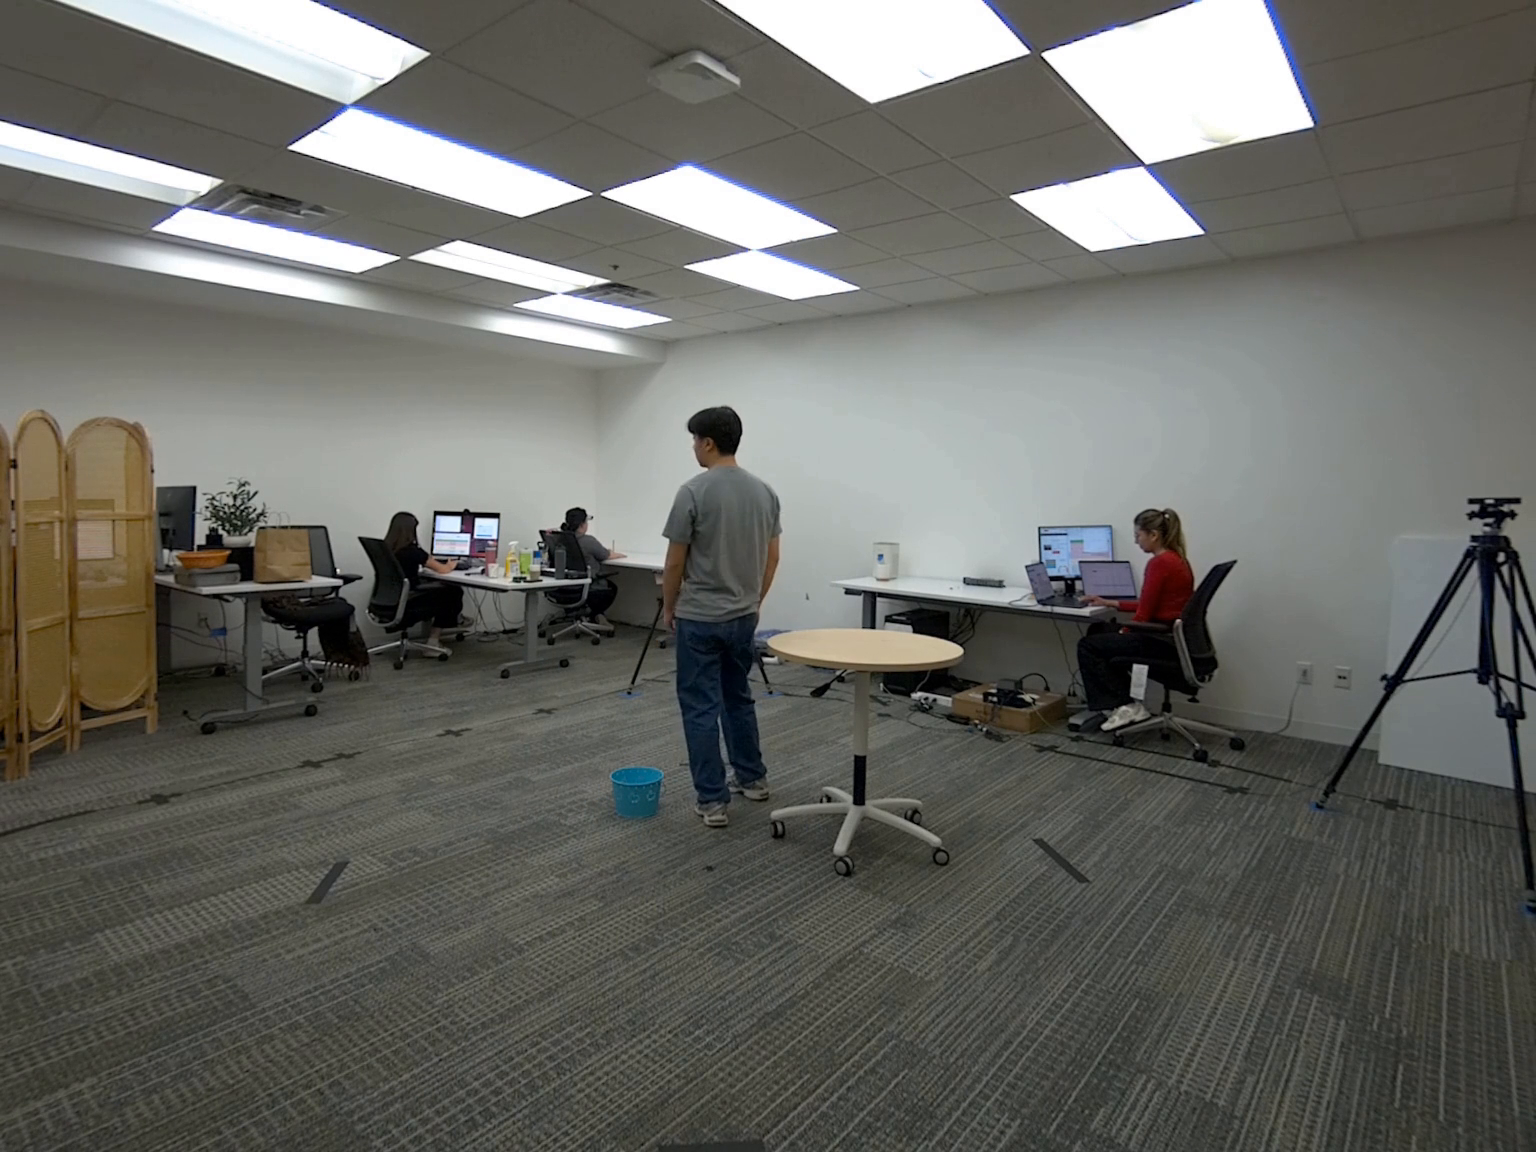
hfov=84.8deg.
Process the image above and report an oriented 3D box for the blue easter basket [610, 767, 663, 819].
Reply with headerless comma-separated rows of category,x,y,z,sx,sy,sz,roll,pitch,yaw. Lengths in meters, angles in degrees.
blue easter basket,-0.569,0.928,3.666,0.243,0.155,0.245,-1,5,-2
